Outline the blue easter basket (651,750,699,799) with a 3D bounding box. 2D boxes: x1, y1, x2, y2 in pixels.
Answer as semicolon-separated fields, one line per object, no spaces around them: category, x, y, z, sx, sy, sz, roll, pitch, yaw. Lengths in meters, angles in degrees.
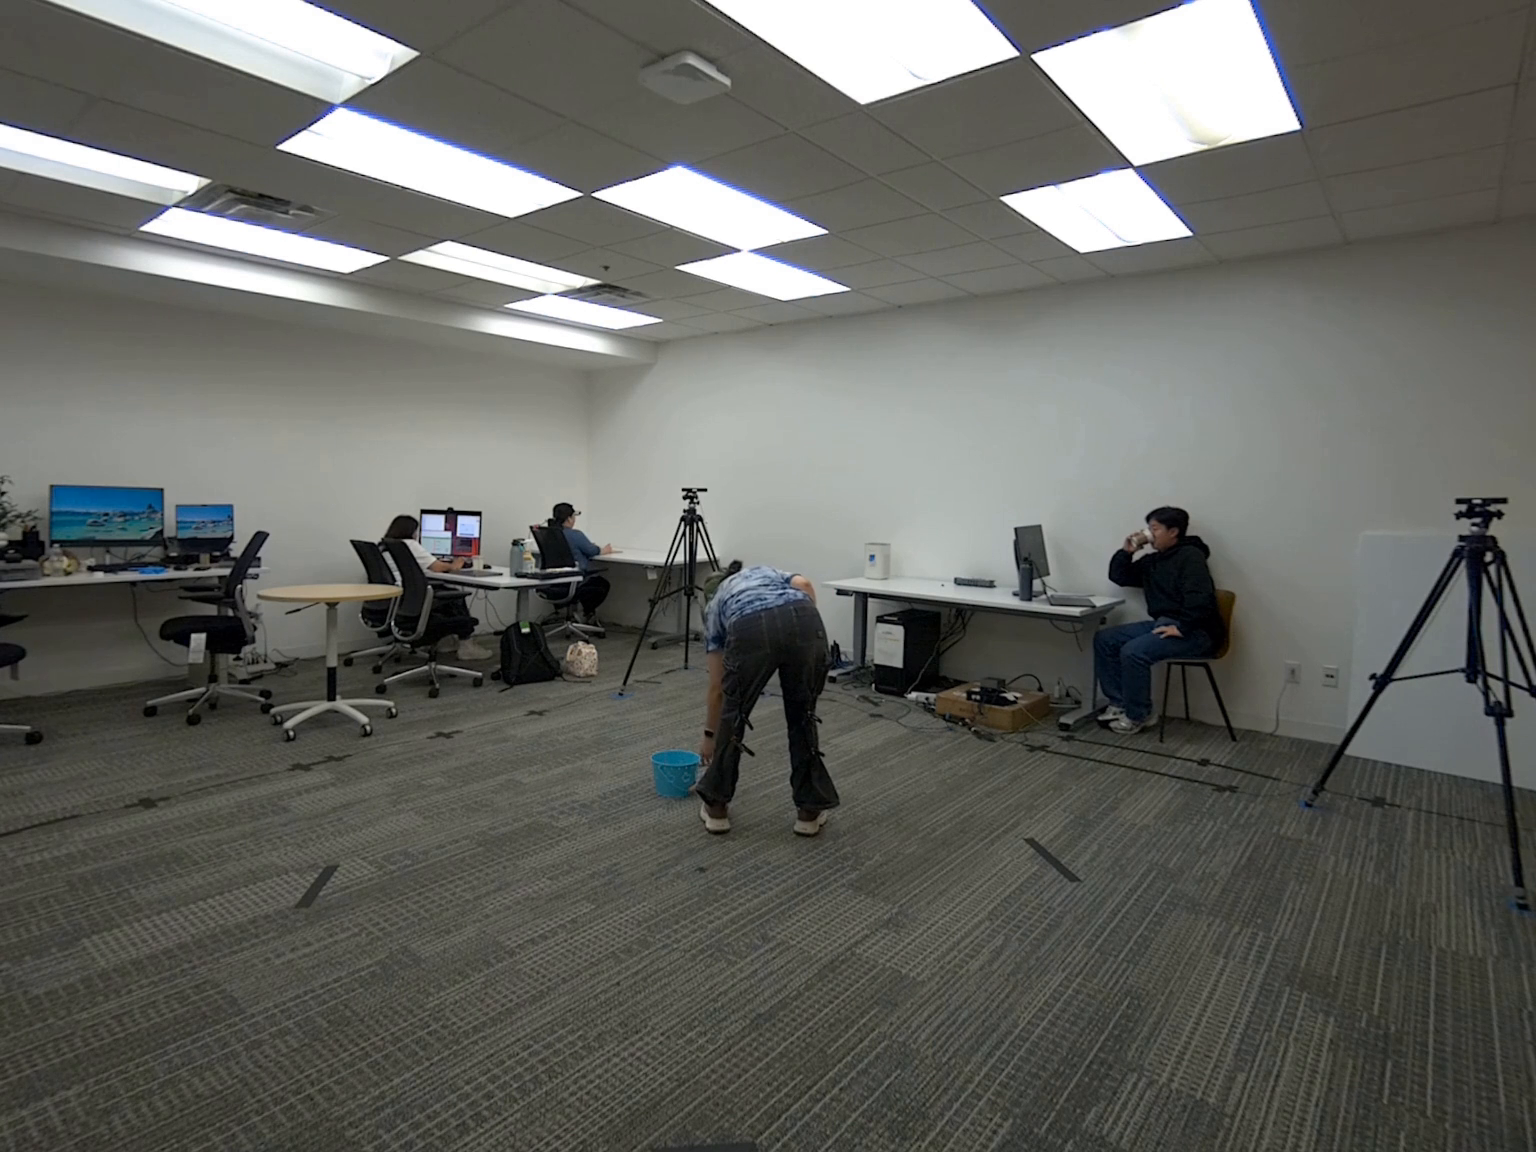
blue easter basket;-0.439;0.908;3.920;0.243;0.155;0.245;1;5;-2
